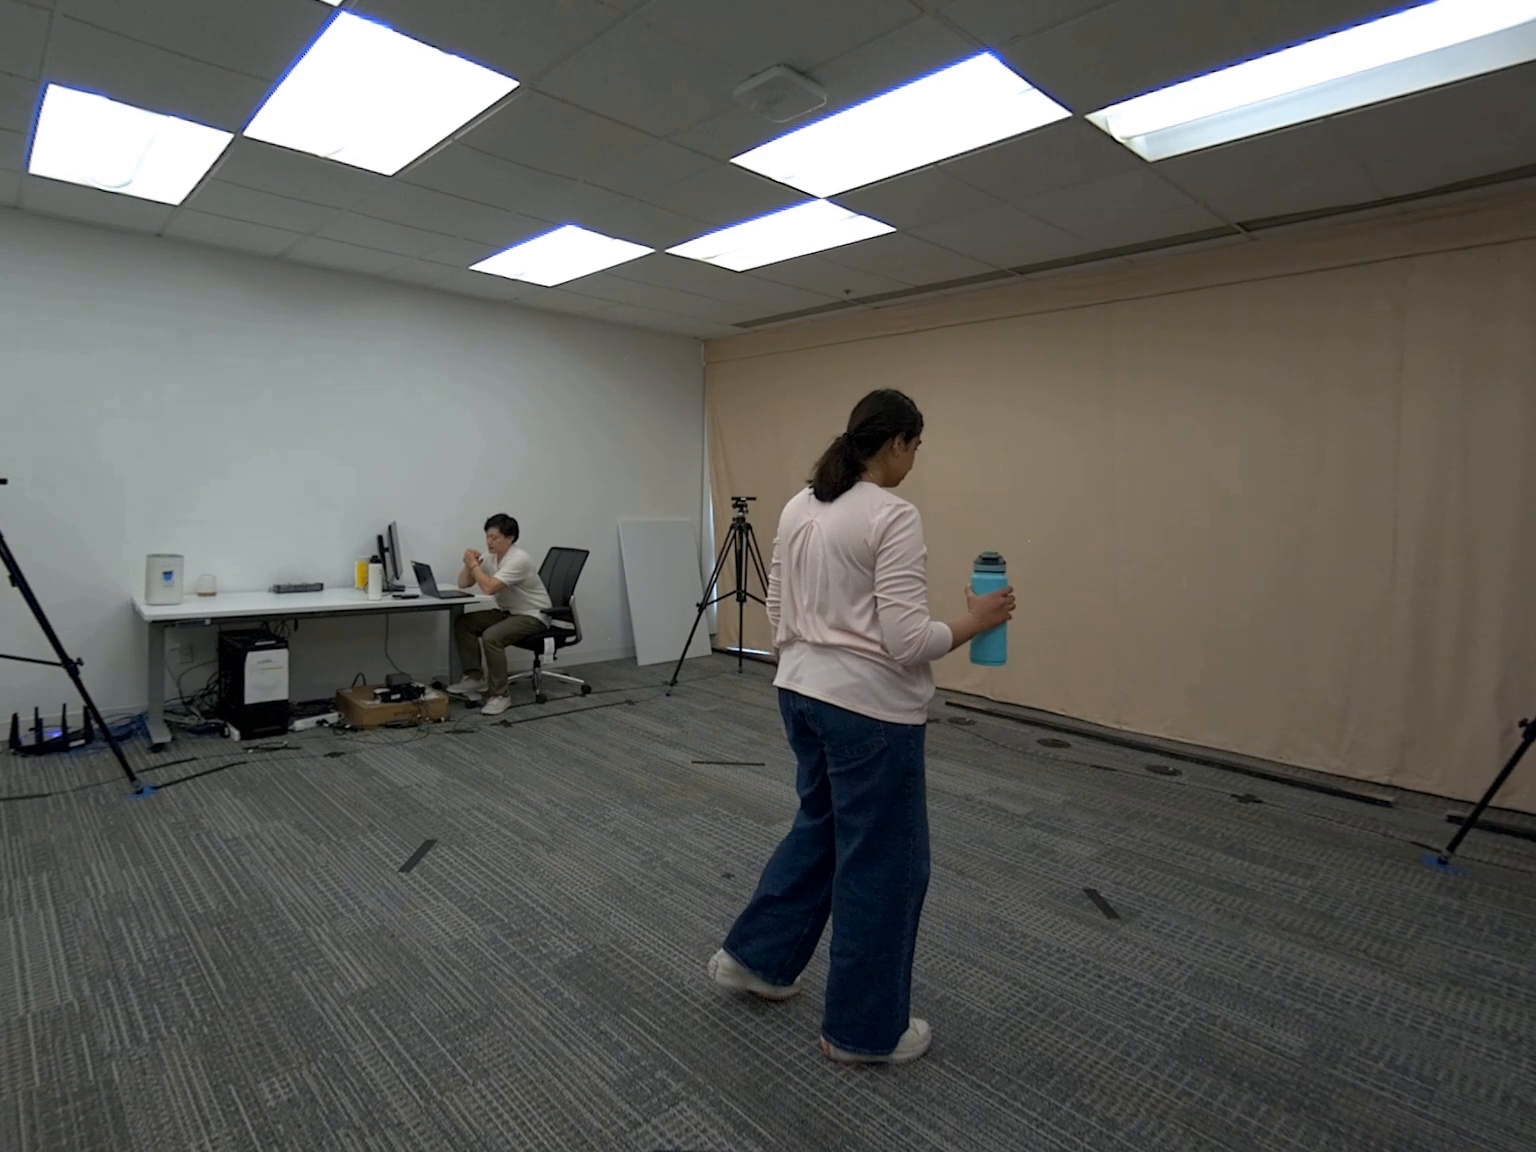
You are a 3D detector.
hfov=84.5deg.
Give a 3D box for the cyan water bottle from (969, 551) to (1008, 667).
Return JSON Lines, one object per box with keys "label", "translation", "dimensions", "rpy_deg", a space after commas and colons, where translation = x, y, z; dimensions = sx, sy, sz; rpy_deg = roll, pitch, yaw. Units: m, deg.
{"label": "cyan water bottle", "translation": [0.550, 0.080, 2.116], "dimensions": [0.092, 0.284, 0.092], "rpy_deg": [3, -1, -1]}
